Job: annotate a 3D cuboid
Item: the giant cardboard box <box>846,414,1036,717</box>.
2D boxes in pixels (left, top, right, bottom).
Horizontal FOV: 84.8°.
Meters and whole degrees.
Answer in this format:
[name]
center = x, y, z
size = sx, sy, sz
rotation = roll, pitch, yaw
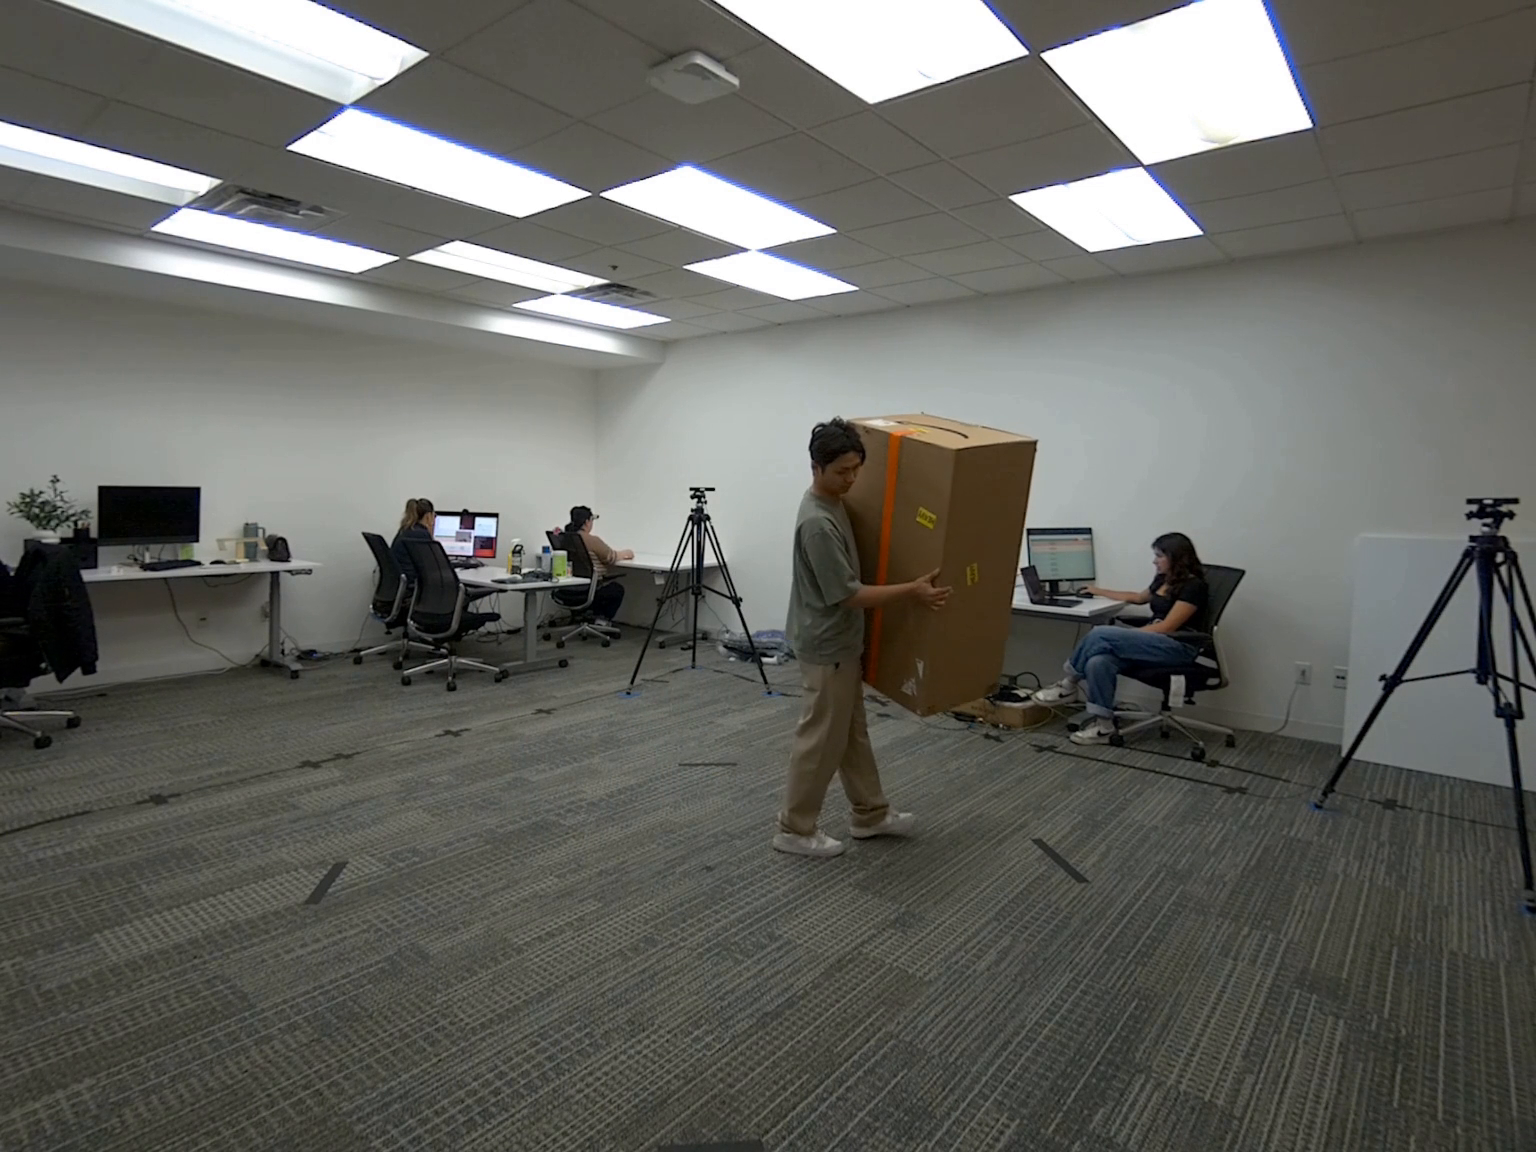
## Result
[giant cardboard box]
center = 0.598, -0.070, 3.333
size = 0.416, 1.010, 0.601
rotation = -9, 22, -33
